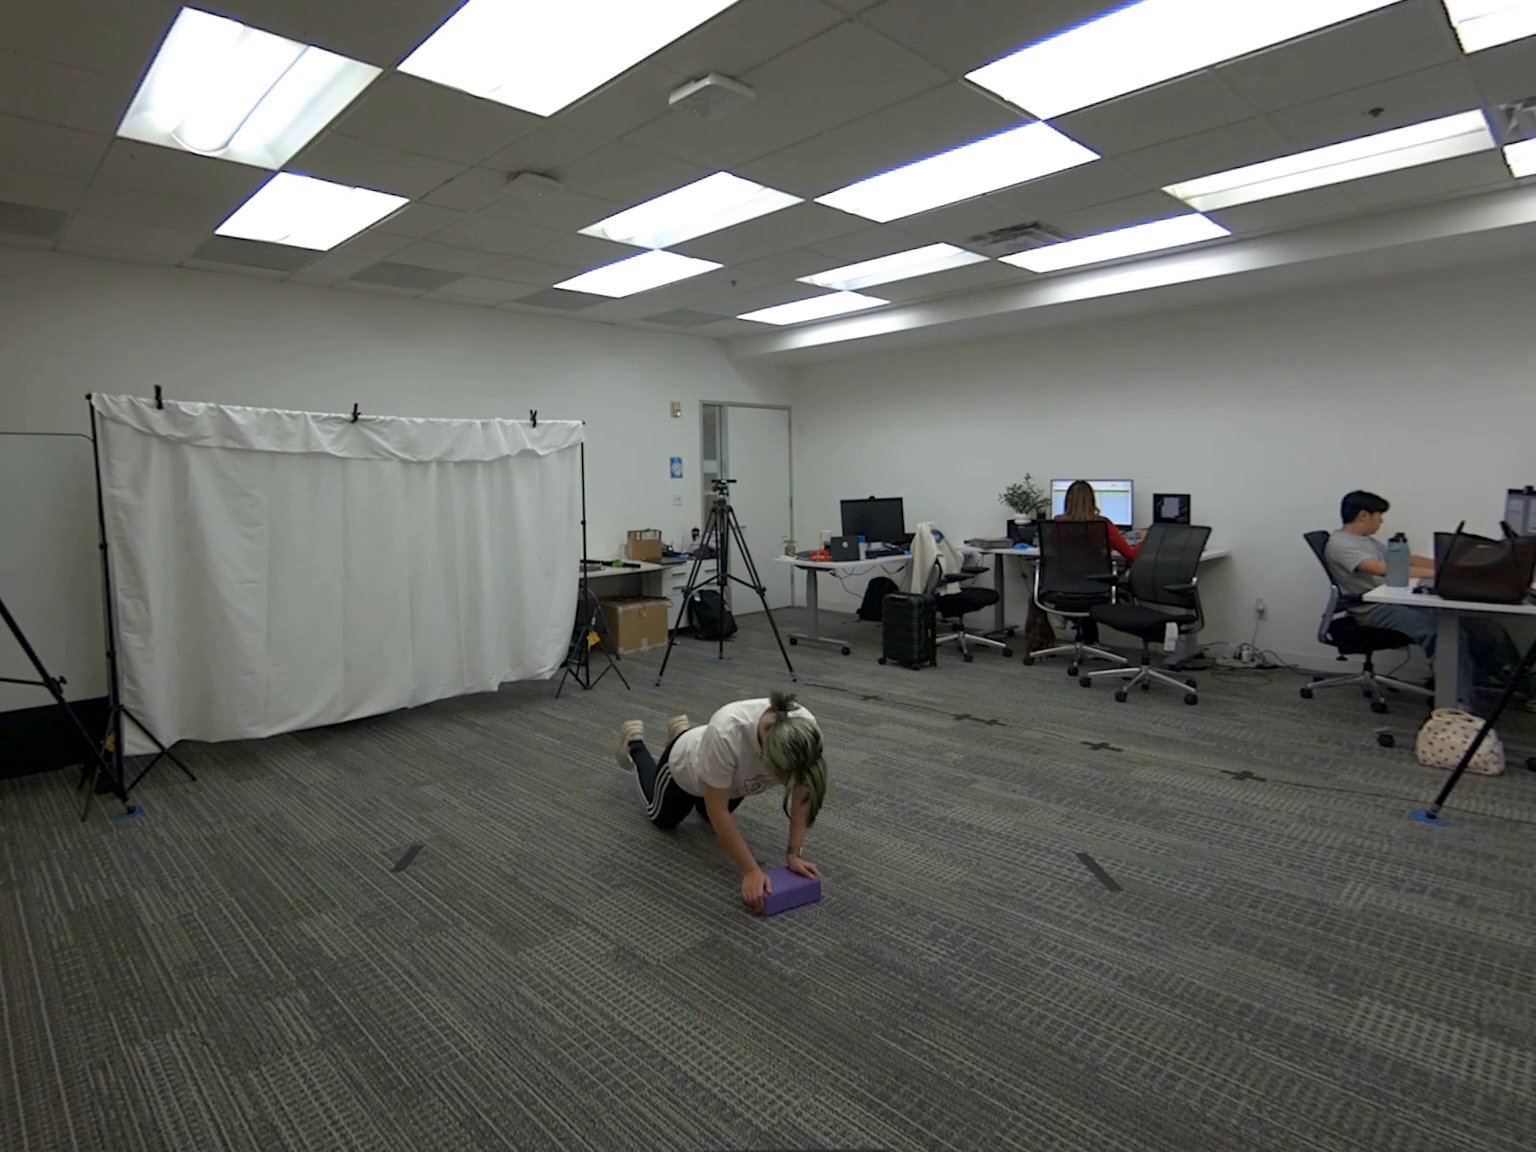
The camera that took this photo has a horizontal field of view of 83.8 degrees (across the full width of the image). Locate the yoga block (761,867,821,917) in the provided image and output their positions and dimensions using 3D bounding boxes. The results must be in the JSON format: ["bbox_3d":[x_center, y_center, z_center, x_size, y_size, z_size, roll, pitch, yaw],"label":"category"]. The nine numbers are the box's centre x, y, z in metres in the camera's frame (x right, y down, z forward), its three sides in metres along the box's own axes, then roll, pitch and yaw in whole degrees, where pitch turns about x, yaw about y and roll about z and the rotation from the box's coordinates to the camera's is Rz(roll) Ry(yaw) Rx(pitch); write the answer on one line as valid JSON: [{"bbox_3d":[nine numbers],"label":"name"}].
[{"bbox_3d":[0.046,1.039,2.838,0.224,0.076,0.153,-3,7,-31],"label":"yoga block"}]
